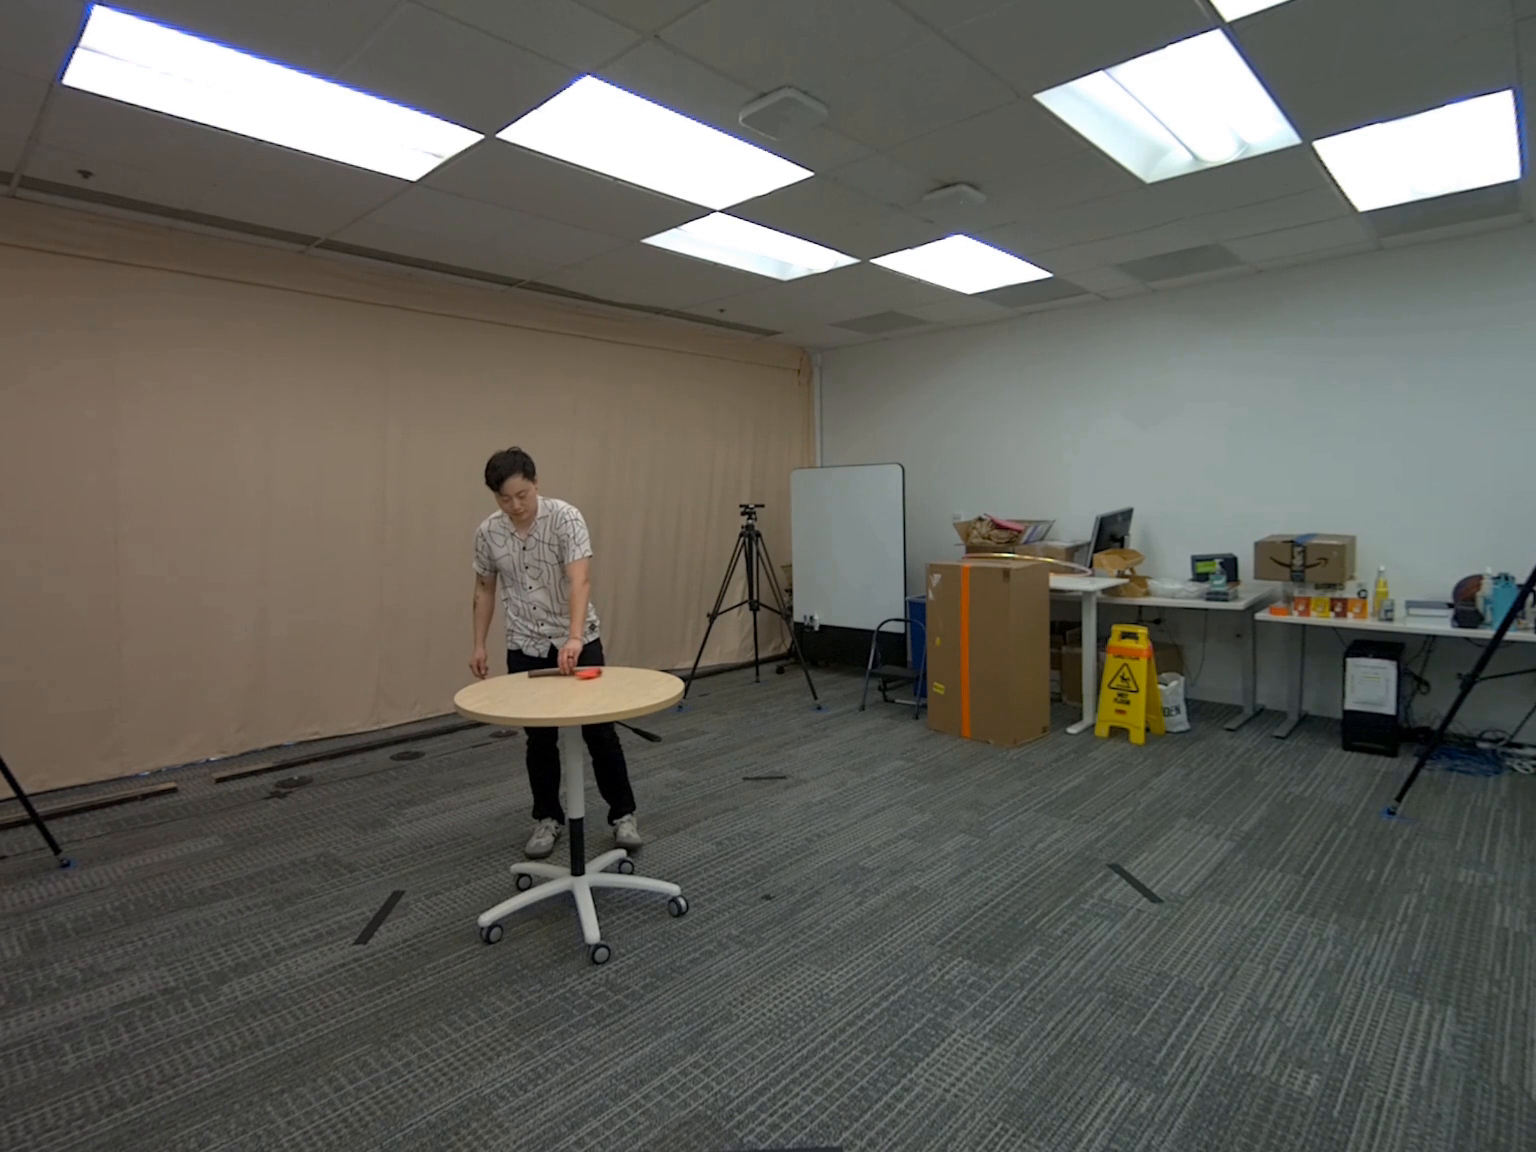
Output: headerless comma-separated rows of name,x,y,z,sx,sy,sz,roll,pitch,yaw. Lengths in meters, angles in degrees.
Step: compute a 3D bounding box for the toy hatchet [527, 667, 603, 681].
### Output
toy hatchet,-0.741,0.357,3.032,0.268,0.029,0.132,-2,4,-9
